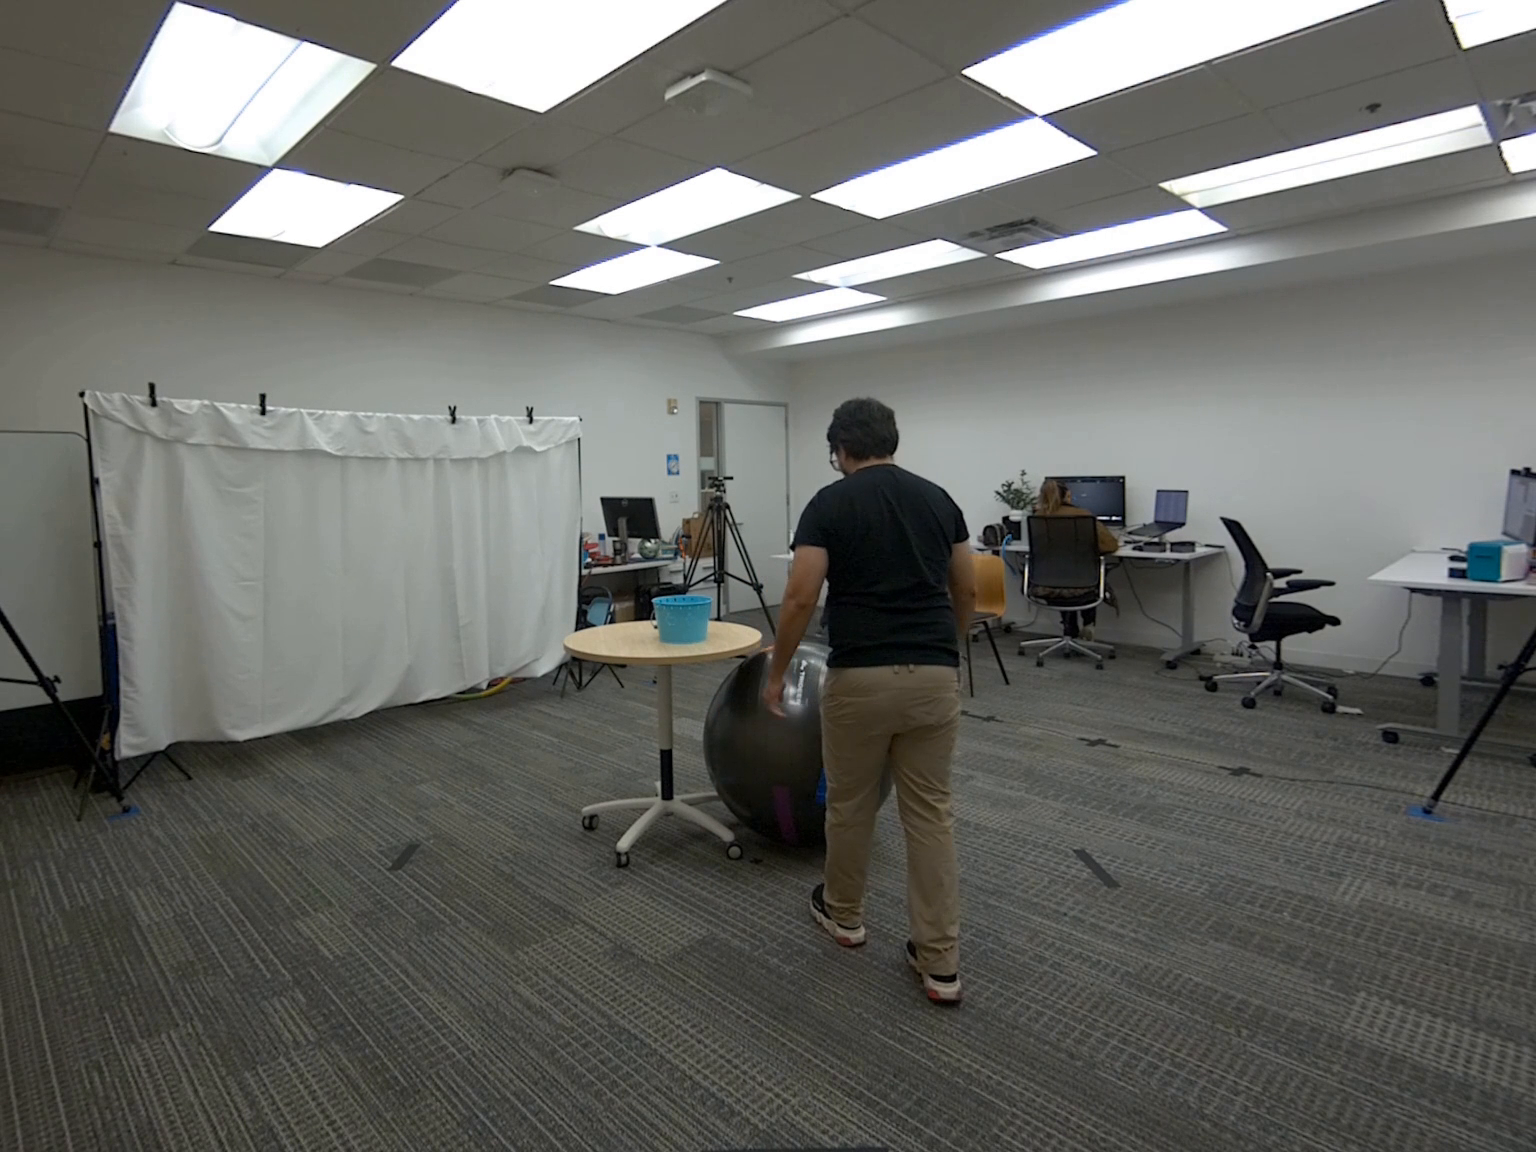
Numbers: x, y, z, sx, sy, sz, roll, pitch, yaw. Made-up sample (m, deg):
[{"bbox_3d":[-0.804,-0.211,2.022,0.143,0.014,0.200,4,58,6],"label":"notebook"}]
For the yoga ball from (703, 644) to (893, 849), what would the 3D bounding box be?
[{"bbox_3d":[0.138,0.646,3.307,0.757,0.755,0.762,-1,5,-2],"label":"yoga ball"}]
